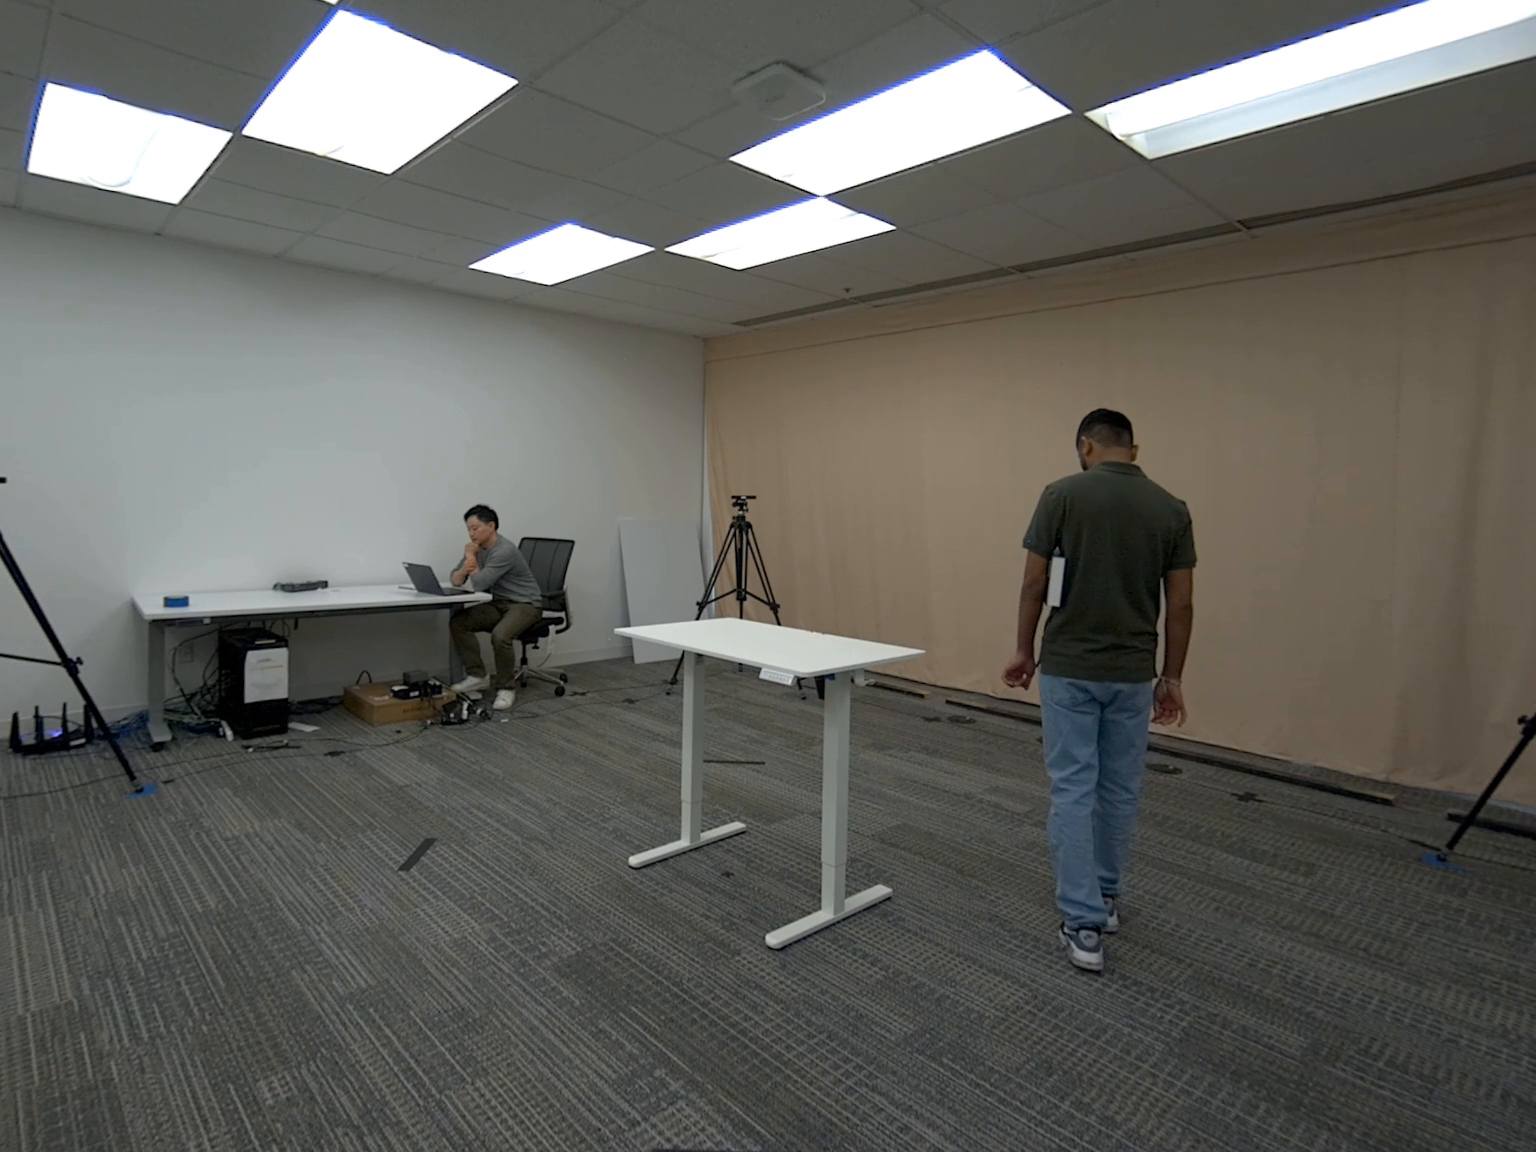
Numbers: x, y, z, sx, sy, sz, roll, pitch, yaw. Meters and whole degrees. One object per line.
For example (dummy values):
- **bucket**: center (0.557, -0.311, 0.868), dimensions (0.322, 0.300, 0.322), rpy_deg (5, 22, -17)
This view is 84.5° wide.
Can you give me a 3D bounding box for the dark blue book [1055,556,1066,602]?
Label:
- **dark blue book**: center (0.974, 0.013, 2.727), dimensions (0.045, 0.163, 0.244), rpy_deg (-3, 6, 9)
